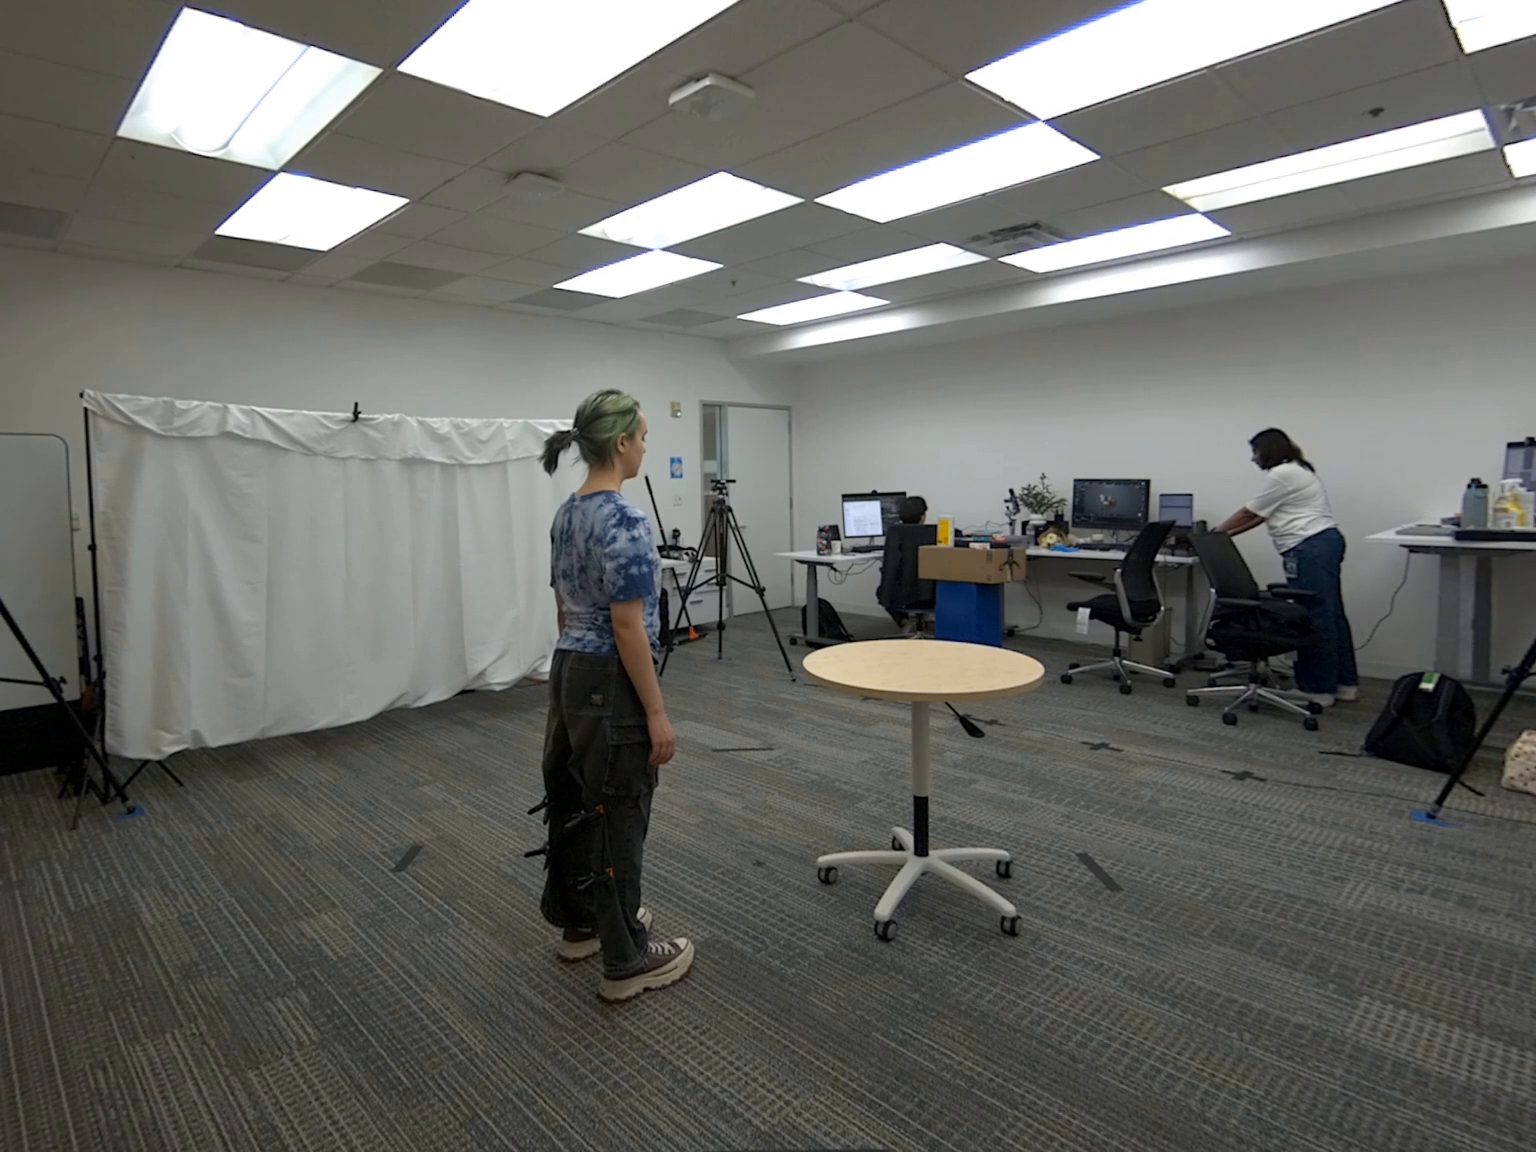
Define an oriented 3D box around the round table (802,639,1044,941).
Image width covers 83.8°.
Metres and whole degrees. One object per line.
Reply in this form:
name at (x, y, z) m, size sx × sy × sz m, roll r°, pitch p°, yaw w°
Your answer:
round table at (0.515, 0.682, 2.825) m, size 0.763 × 0.791 × 0.768 m, roll -1°, pitch 5°, yaw -2°
